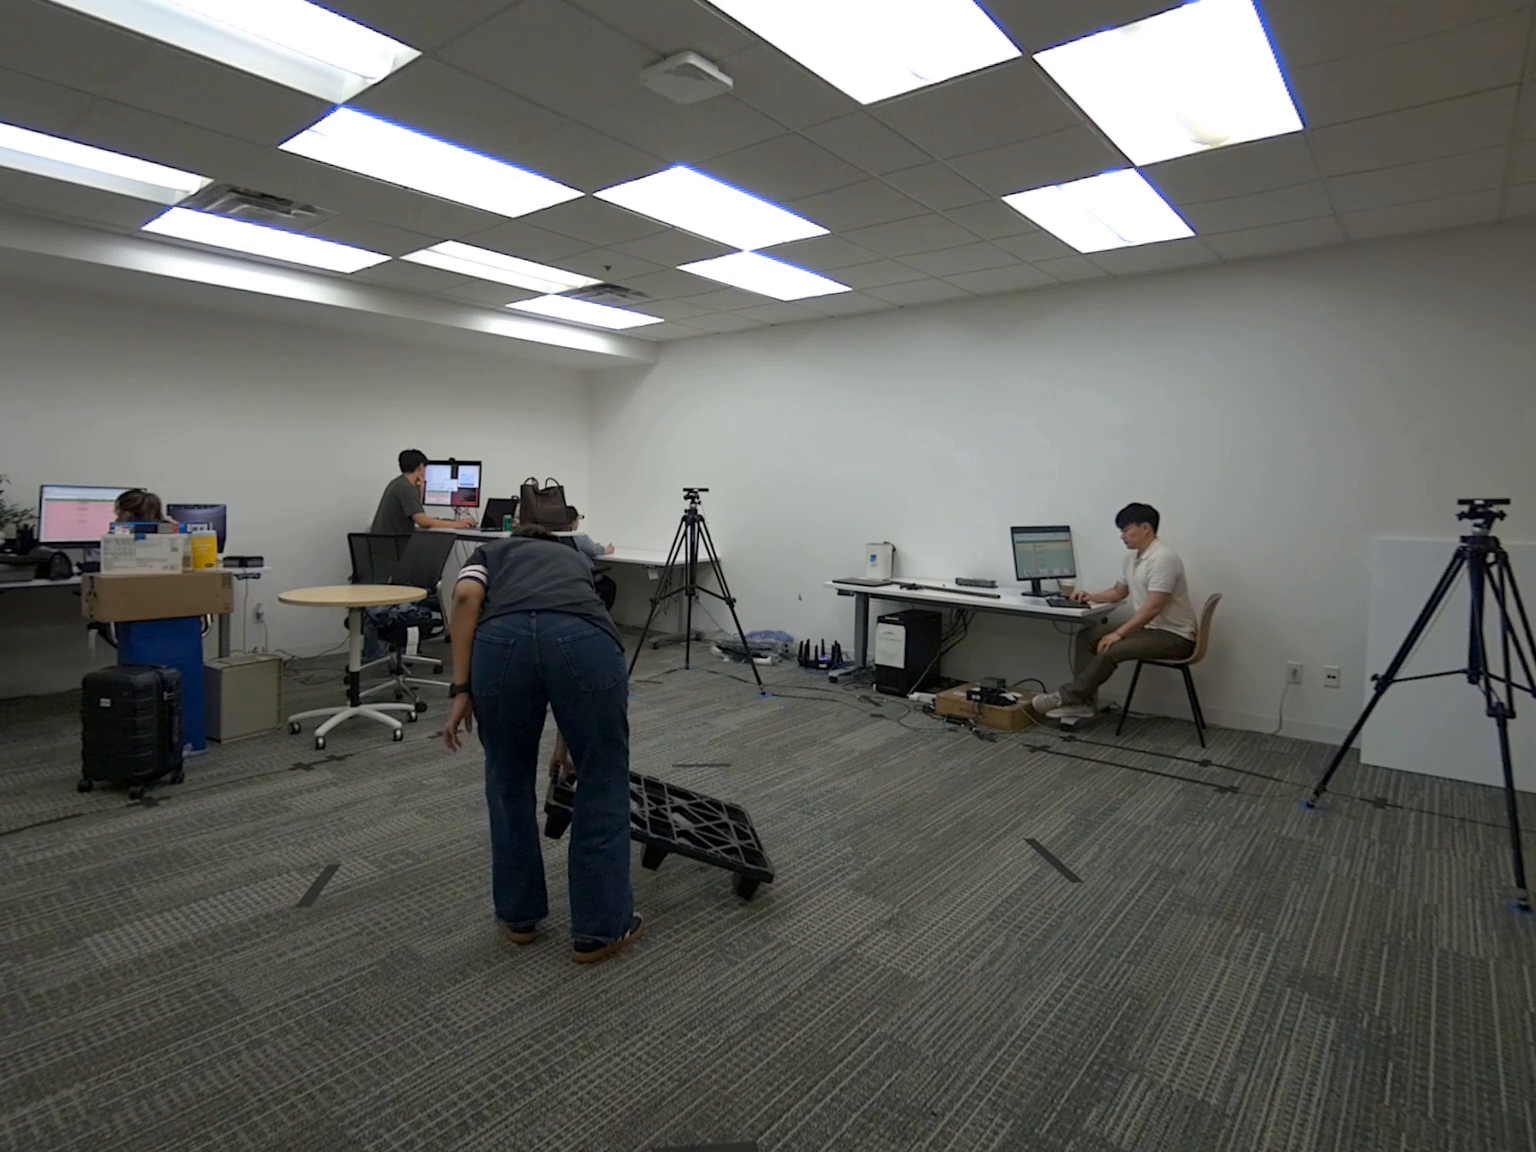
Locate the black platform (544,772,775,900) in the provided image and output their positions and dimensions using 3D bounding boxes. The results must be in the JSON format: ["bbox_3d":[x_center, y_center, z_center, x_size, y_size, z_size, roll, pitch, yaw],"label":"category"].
[{"bbox_3d":[-0.426,0.887,3.055,0.796,0.143,0.613,20,2,-10],"label":"black platform"}]
